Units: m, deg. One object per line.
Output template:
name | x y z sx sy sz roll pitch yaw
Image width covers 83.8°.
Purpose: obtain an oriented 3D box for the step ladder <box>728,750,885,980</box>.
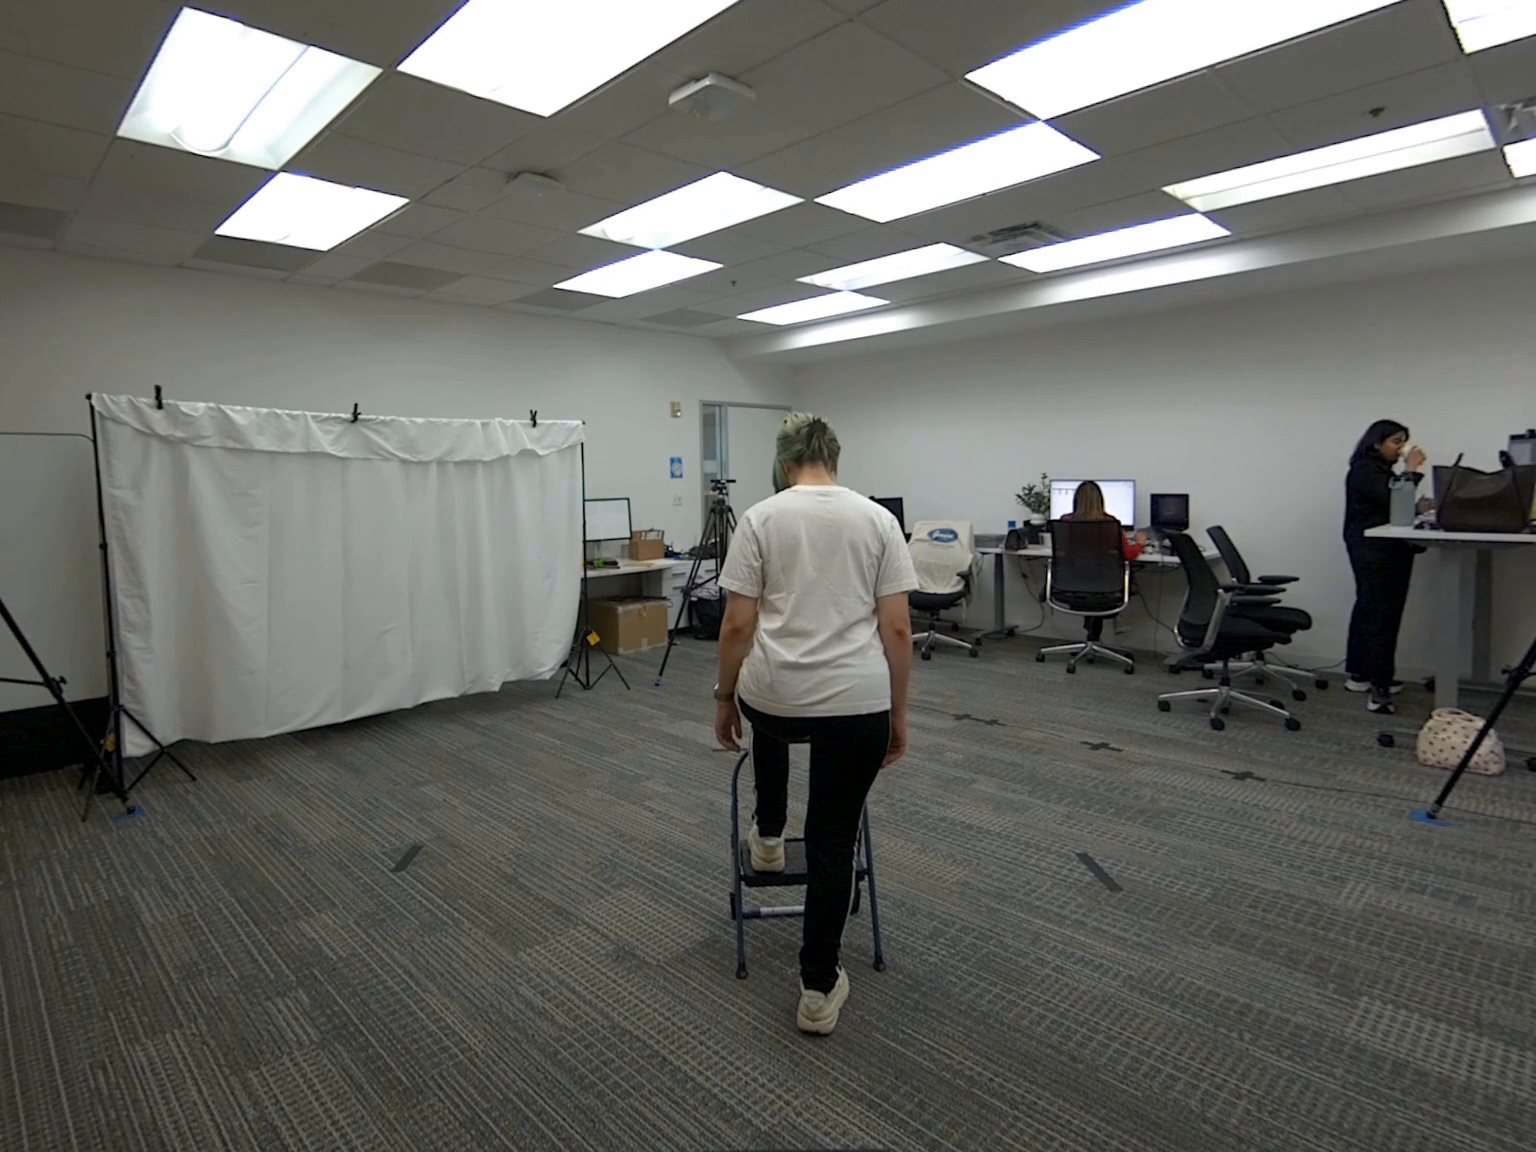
step ladder | 0.108 0.812 2.563 0.429 0.603 0.352 -1 5 -5
